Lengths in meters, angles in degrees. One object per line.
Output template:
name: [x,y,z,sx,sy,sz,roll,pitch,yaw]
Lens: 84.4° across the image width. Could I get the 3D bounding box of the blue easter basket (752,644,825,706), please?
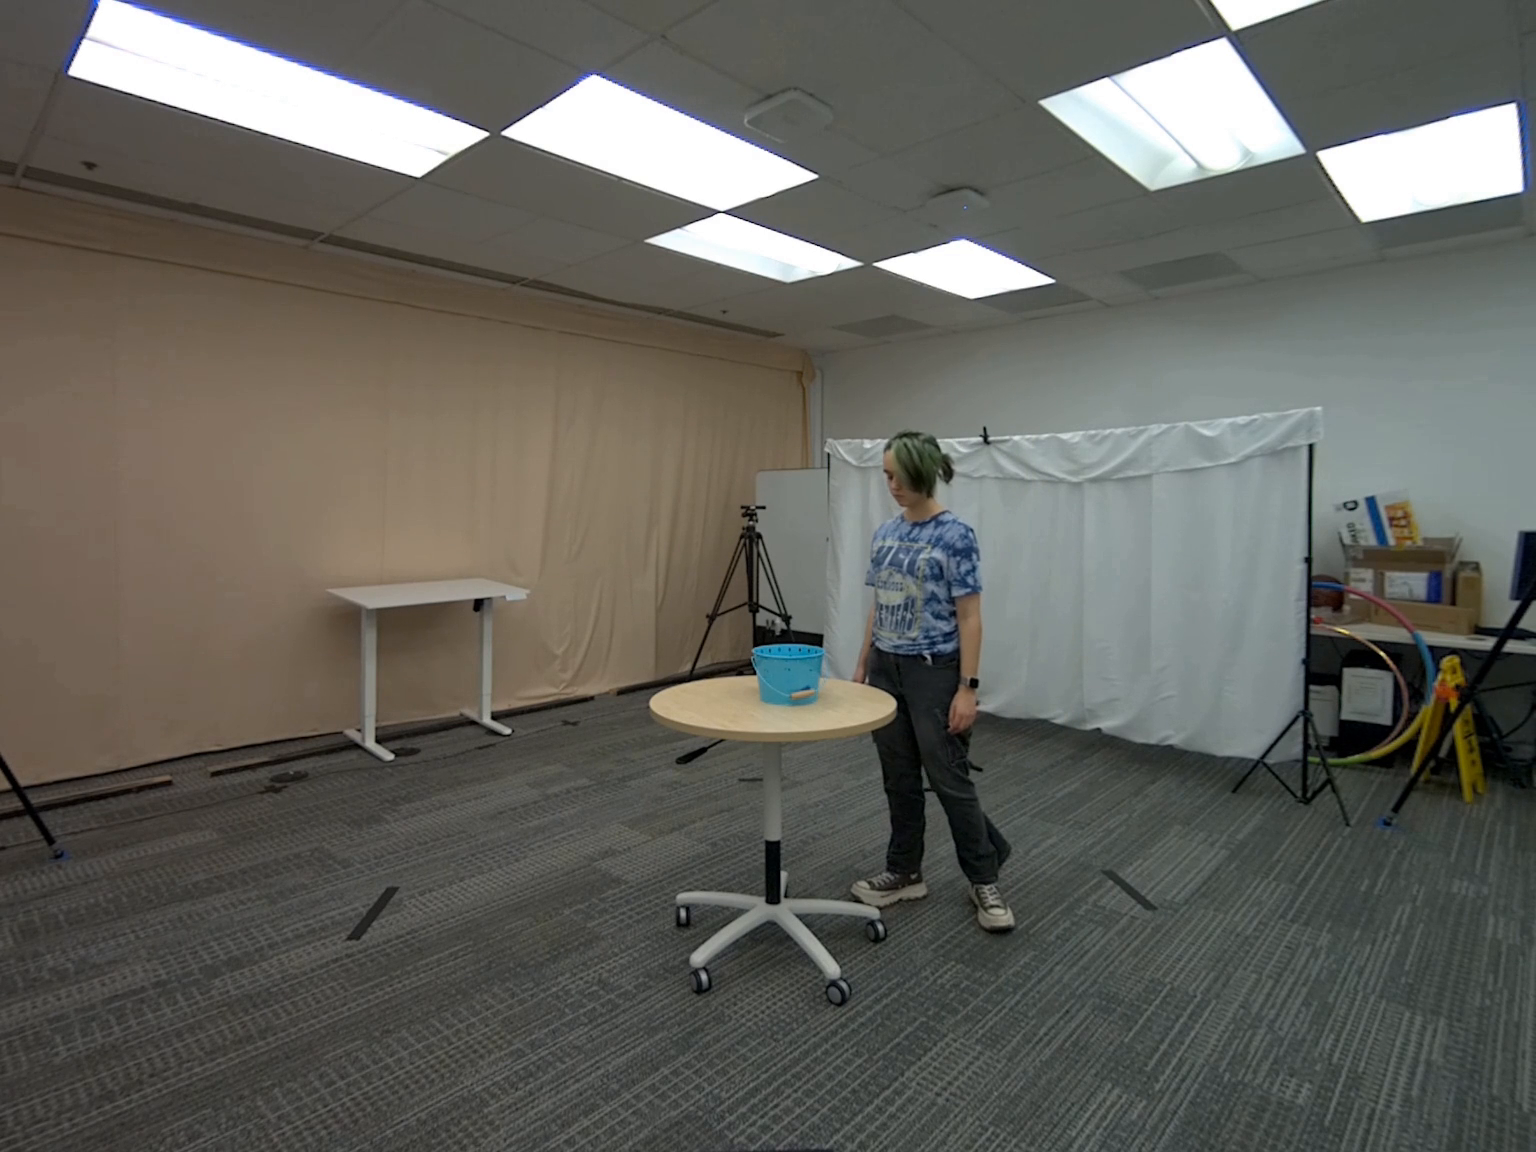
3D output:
blue easter basket: [0.067,0.316,2.633,0.243,0.155,0.244,-1,4,-2]
